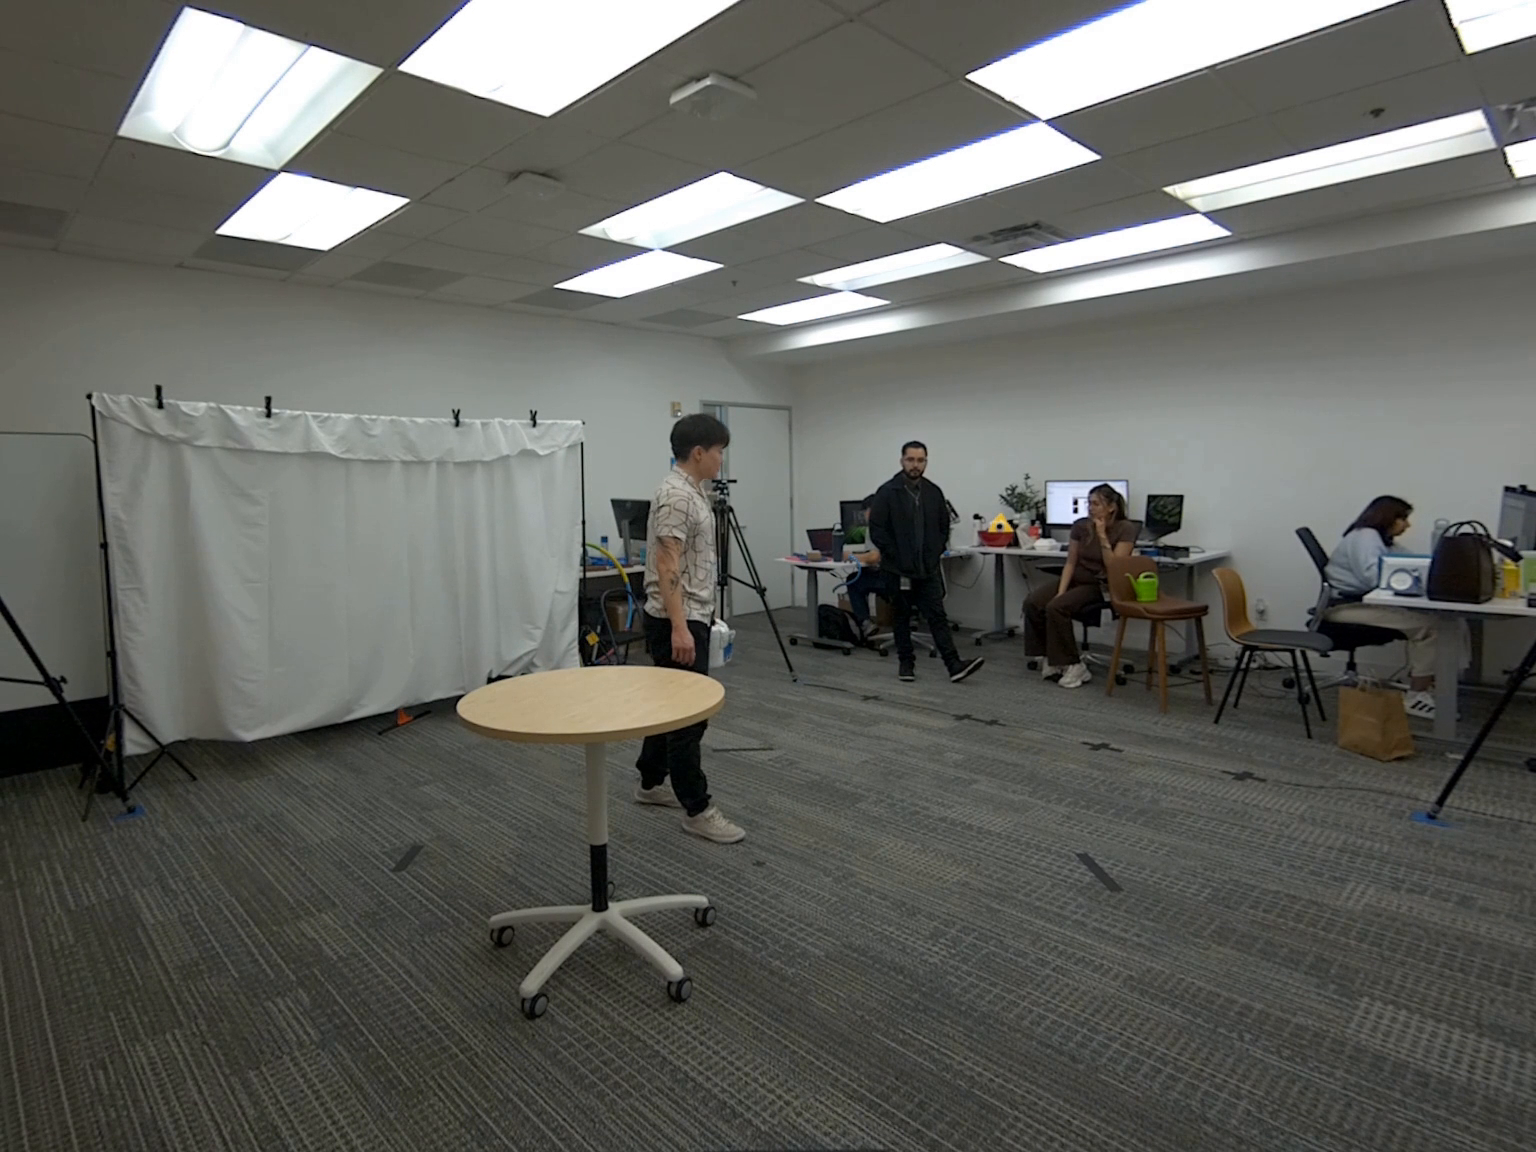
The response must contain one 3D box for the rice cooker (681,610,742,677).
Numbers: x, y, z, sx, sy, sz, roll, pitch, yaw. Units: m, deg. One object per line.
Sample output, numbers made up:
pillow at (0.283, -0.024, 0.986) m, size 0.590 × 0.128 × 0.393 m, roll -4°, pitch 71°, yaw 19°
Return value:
rice cooker at (-0.271, 0.289, 3.834) m, size 0.226 × 0.231 × 0.213 m, roll 6°, pitch 9°, yaw 26°
